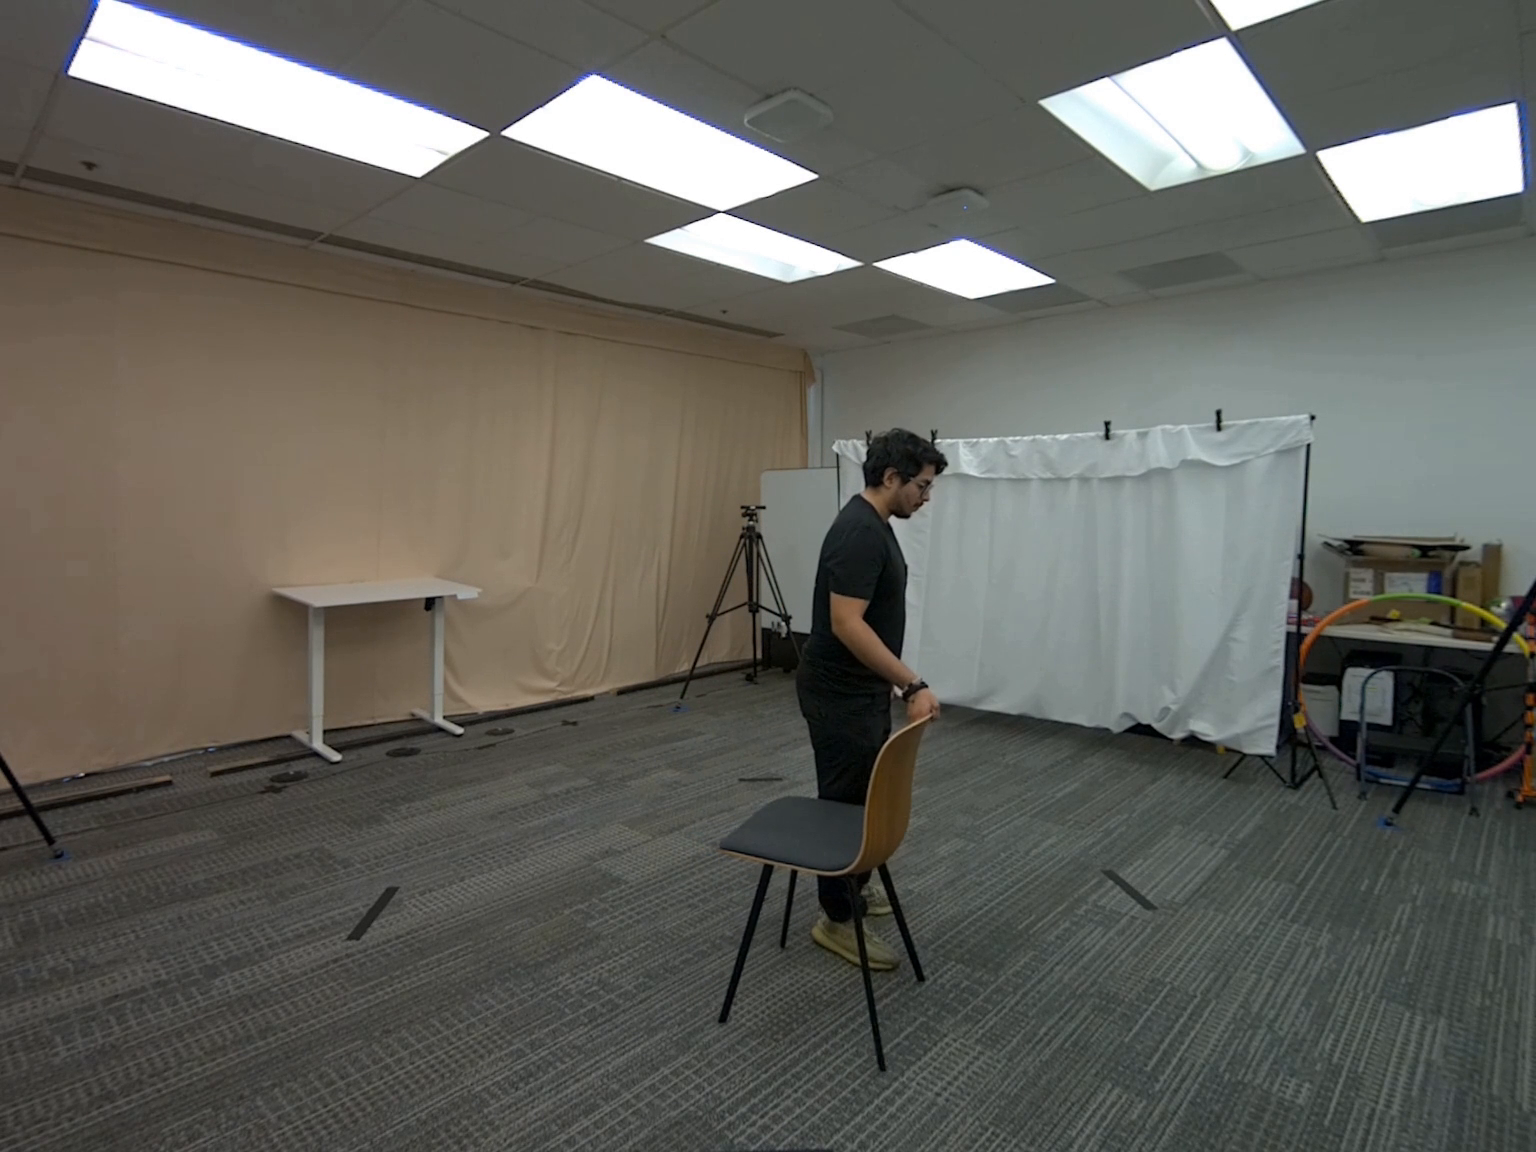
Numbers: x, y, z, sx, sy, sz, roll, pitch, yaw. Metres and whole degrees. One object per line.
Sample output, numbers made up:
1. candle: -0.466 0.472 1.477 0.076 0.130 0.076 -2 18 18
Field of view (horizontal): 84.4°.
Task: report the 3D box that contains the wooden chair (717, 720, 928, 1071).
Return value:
1. wooden chair: 0.154 0.770 2.338 0.537 0.874 0.467 6 6 24
